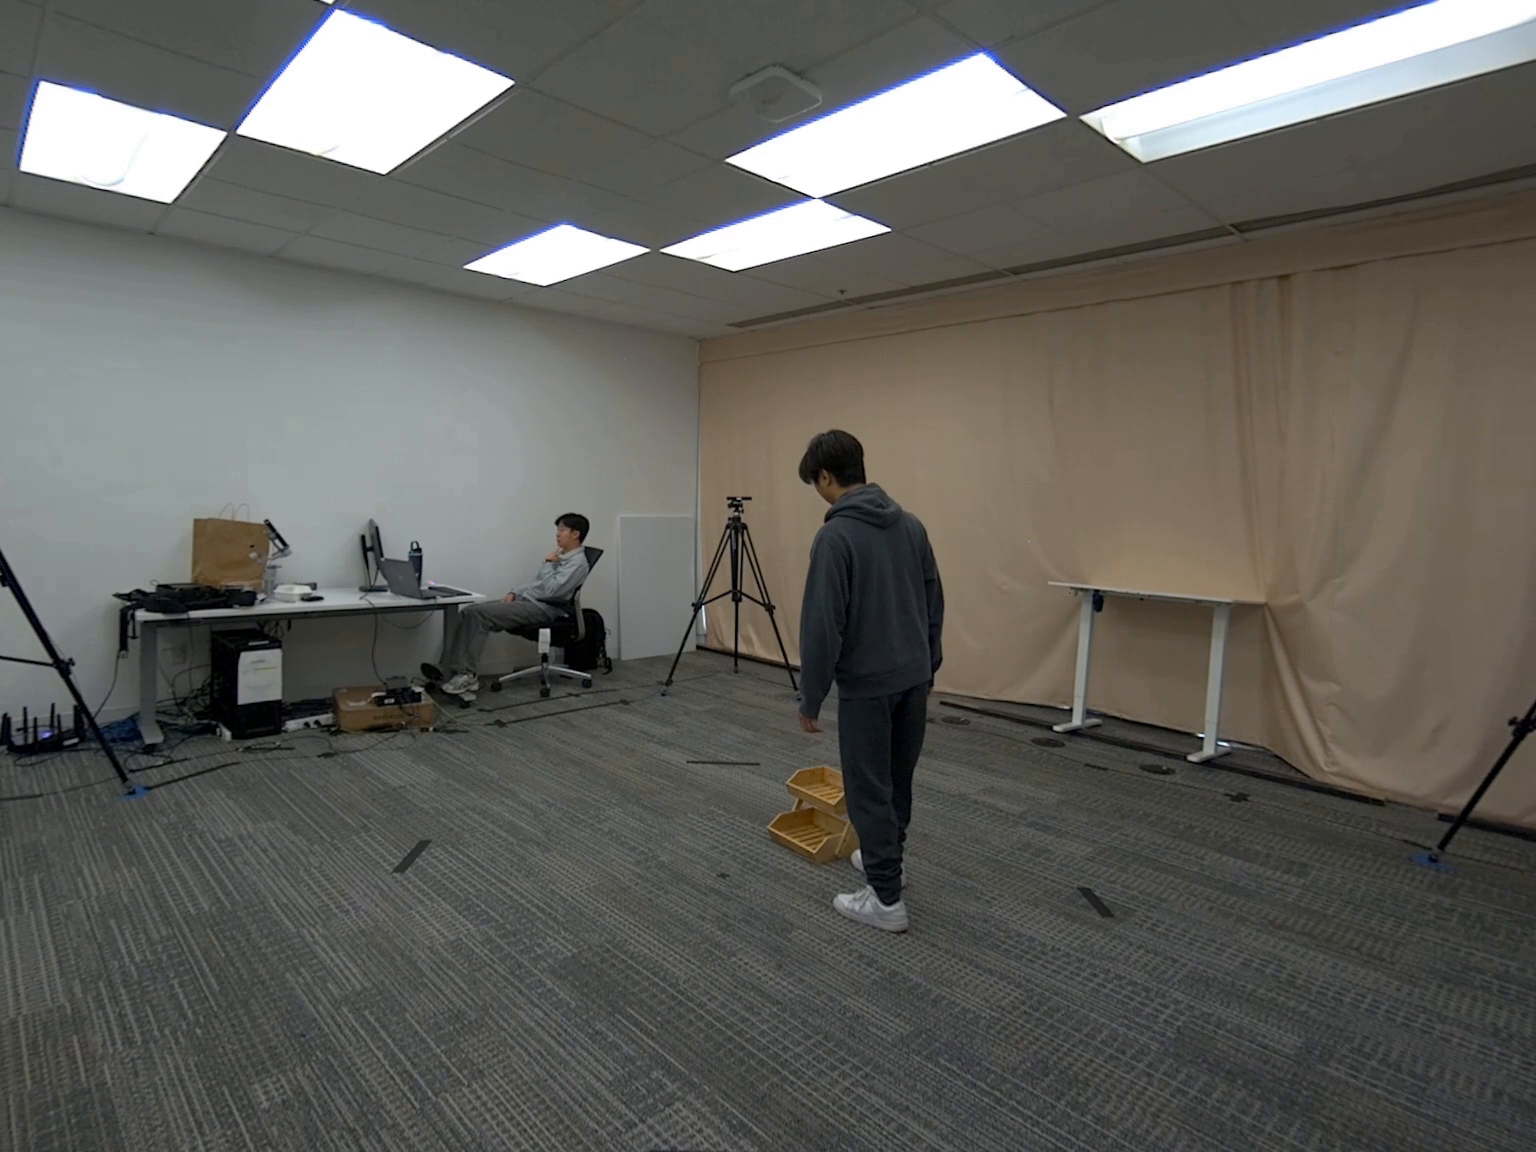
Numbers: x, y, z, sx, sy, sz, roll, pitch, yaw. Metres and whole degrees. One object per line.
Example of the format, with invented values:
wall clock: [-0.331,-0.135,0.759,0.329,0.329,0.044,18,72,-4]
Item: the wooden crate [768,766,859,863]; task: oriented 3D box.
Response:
wooden crate: [0.200,0.953,3.414,0.295,0.273,0.332,0,4,-36]
